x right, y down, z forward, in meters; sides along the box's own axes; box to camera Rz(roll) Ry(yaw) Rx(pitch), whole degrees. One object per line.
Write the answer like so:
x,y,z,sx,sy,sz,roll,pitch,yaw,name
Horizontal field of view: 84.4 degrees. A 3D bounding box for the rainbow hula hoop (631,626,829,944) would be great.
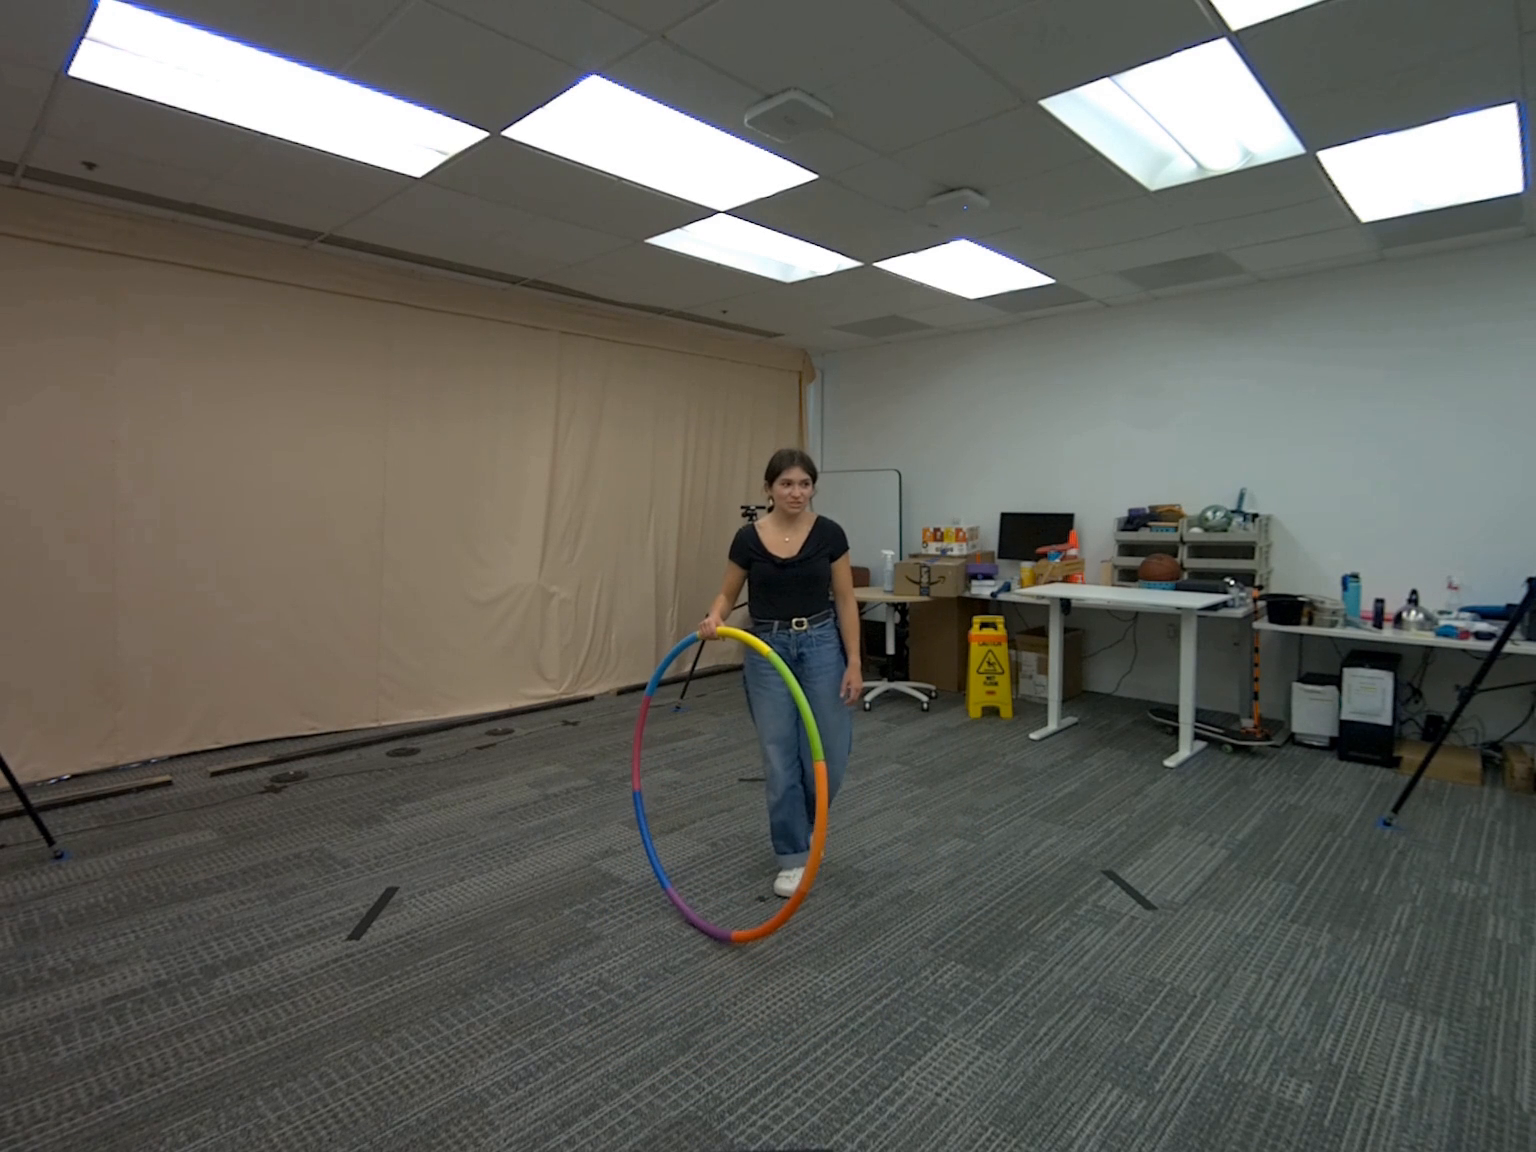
-0.154,0.669,2.782,0.034,0.979,1.011,8,-2,-40,rainbow hula hoop
